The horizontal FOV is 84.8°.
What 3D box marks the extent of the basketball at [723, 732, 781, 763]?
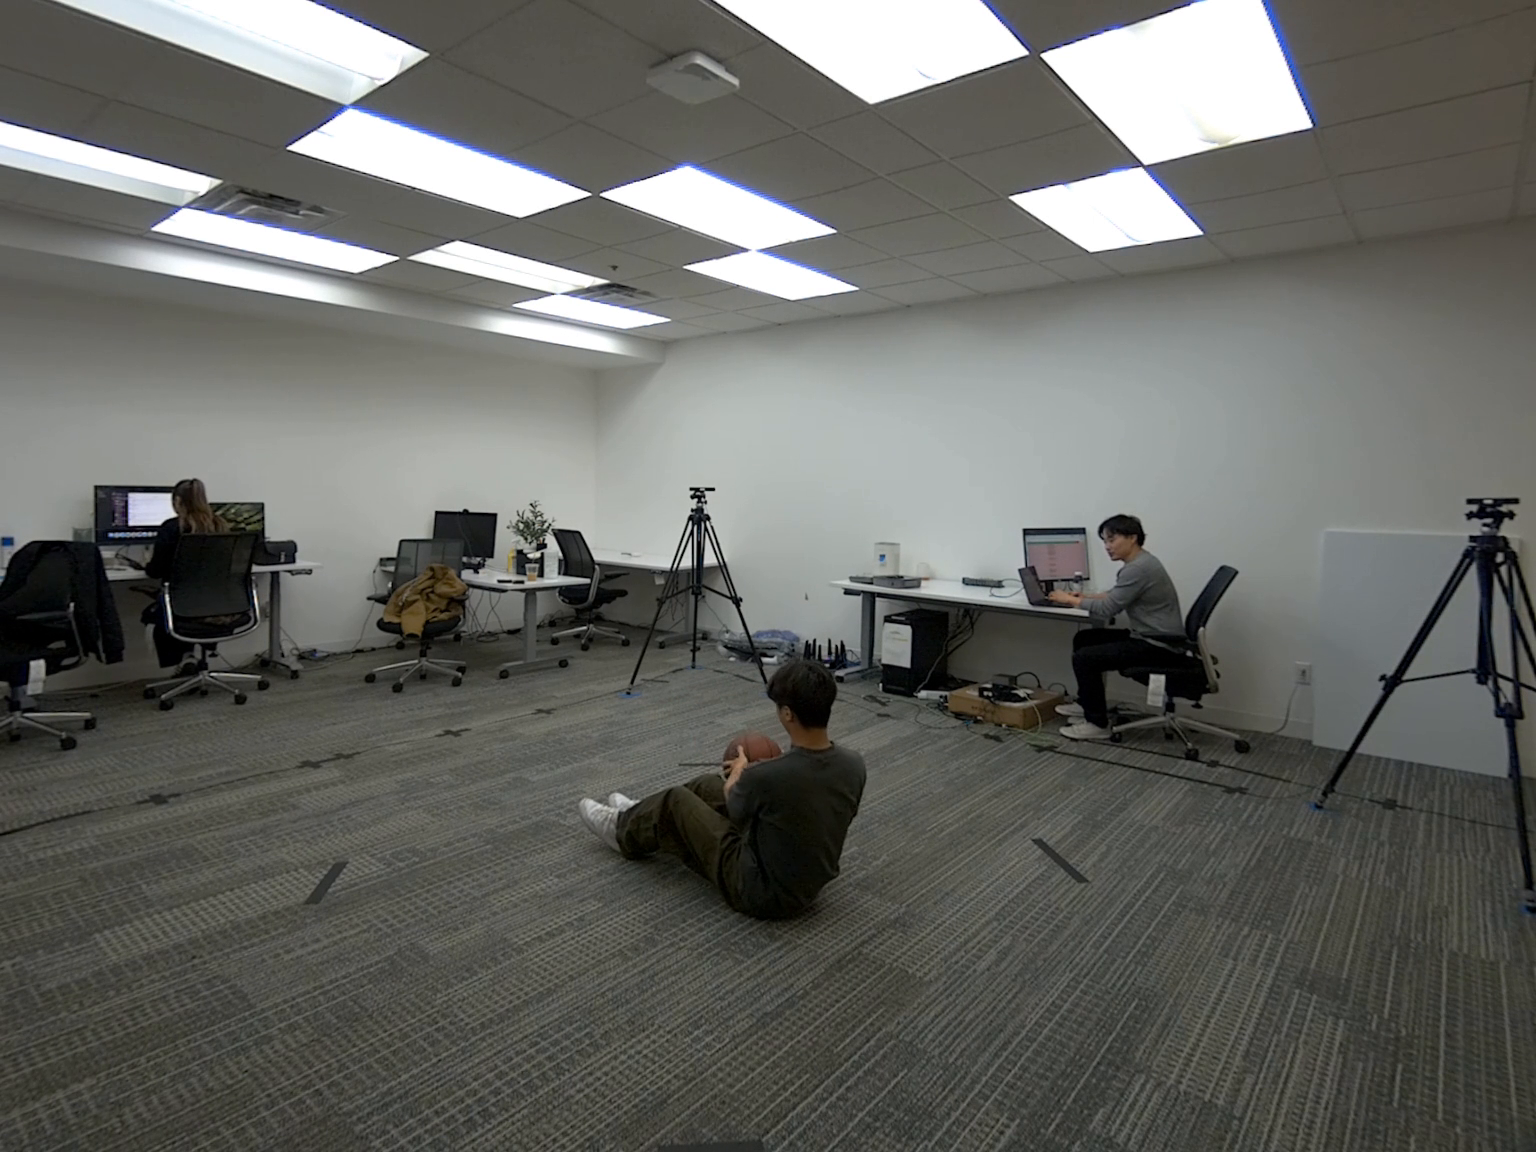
[{"bbox_3d":[-0.070,0.731,3.311,0.235,0.235,0.237,1,4,-2],"label":"basketball"}]
